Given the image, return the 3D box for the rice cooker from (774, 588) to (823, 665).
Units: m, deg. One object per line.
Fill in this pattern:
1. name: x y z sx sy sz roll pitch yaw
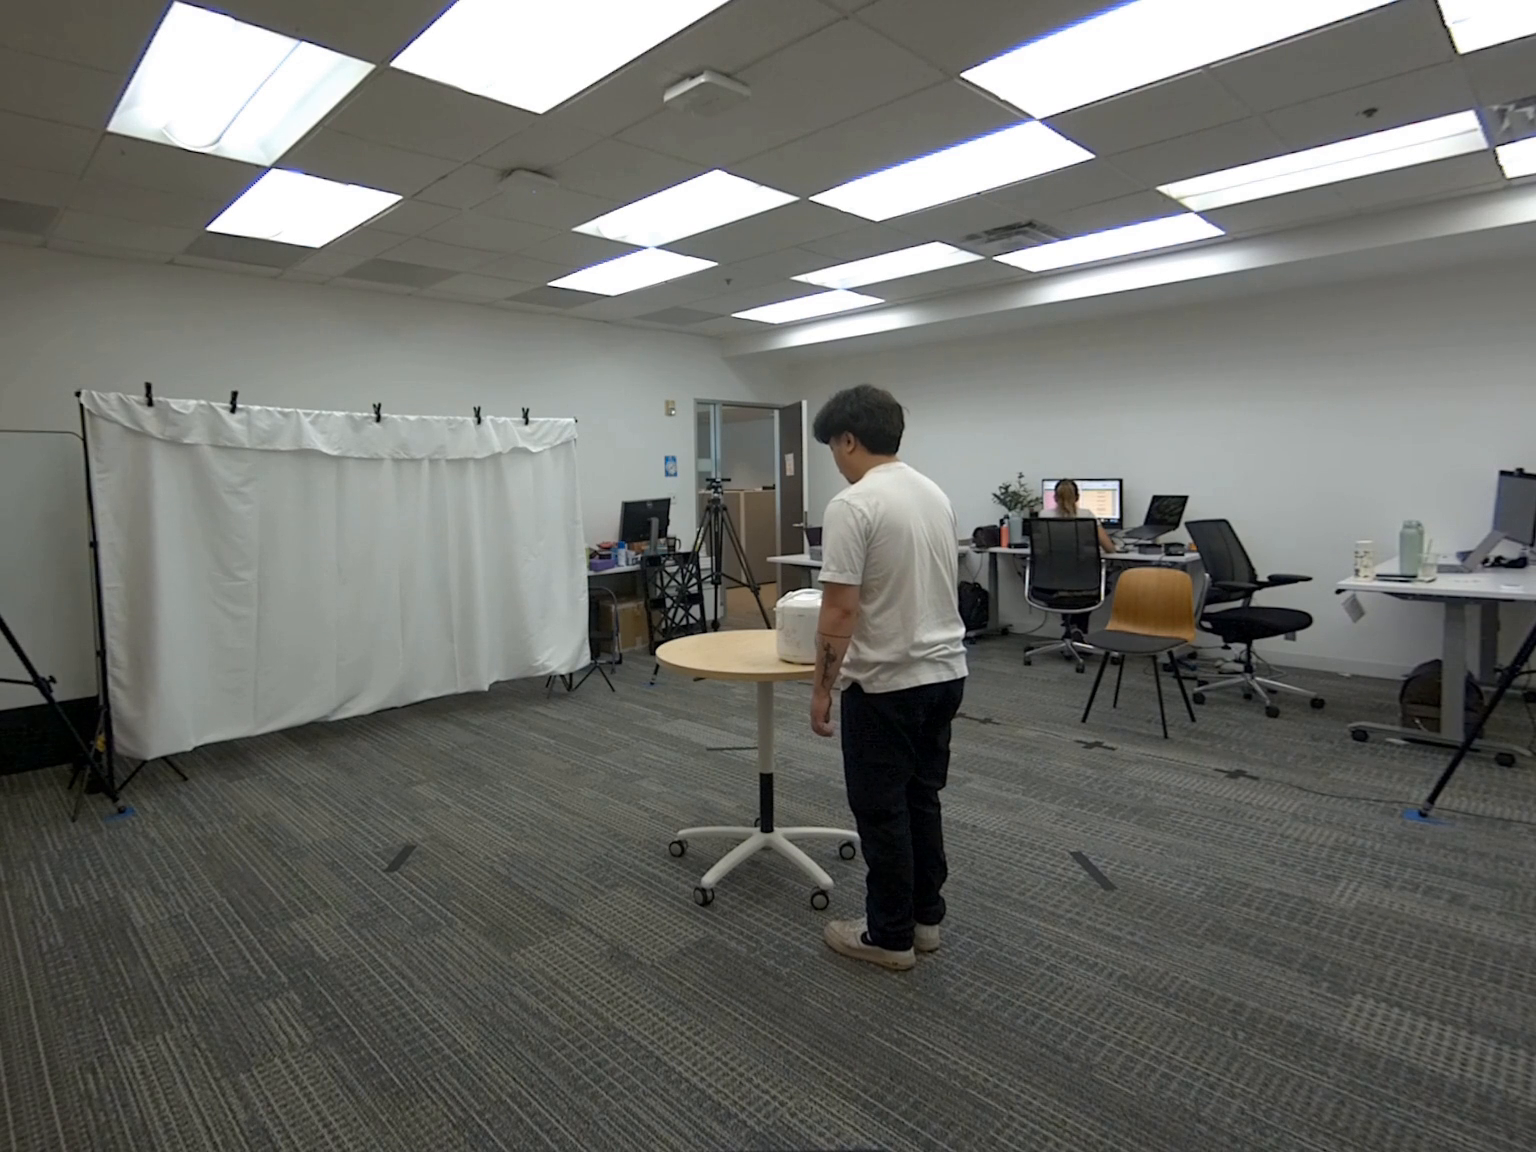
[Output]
1. rice cooker: 0.137 0.160 2.800 0.216 0.232 0.222 -4 5 -23
